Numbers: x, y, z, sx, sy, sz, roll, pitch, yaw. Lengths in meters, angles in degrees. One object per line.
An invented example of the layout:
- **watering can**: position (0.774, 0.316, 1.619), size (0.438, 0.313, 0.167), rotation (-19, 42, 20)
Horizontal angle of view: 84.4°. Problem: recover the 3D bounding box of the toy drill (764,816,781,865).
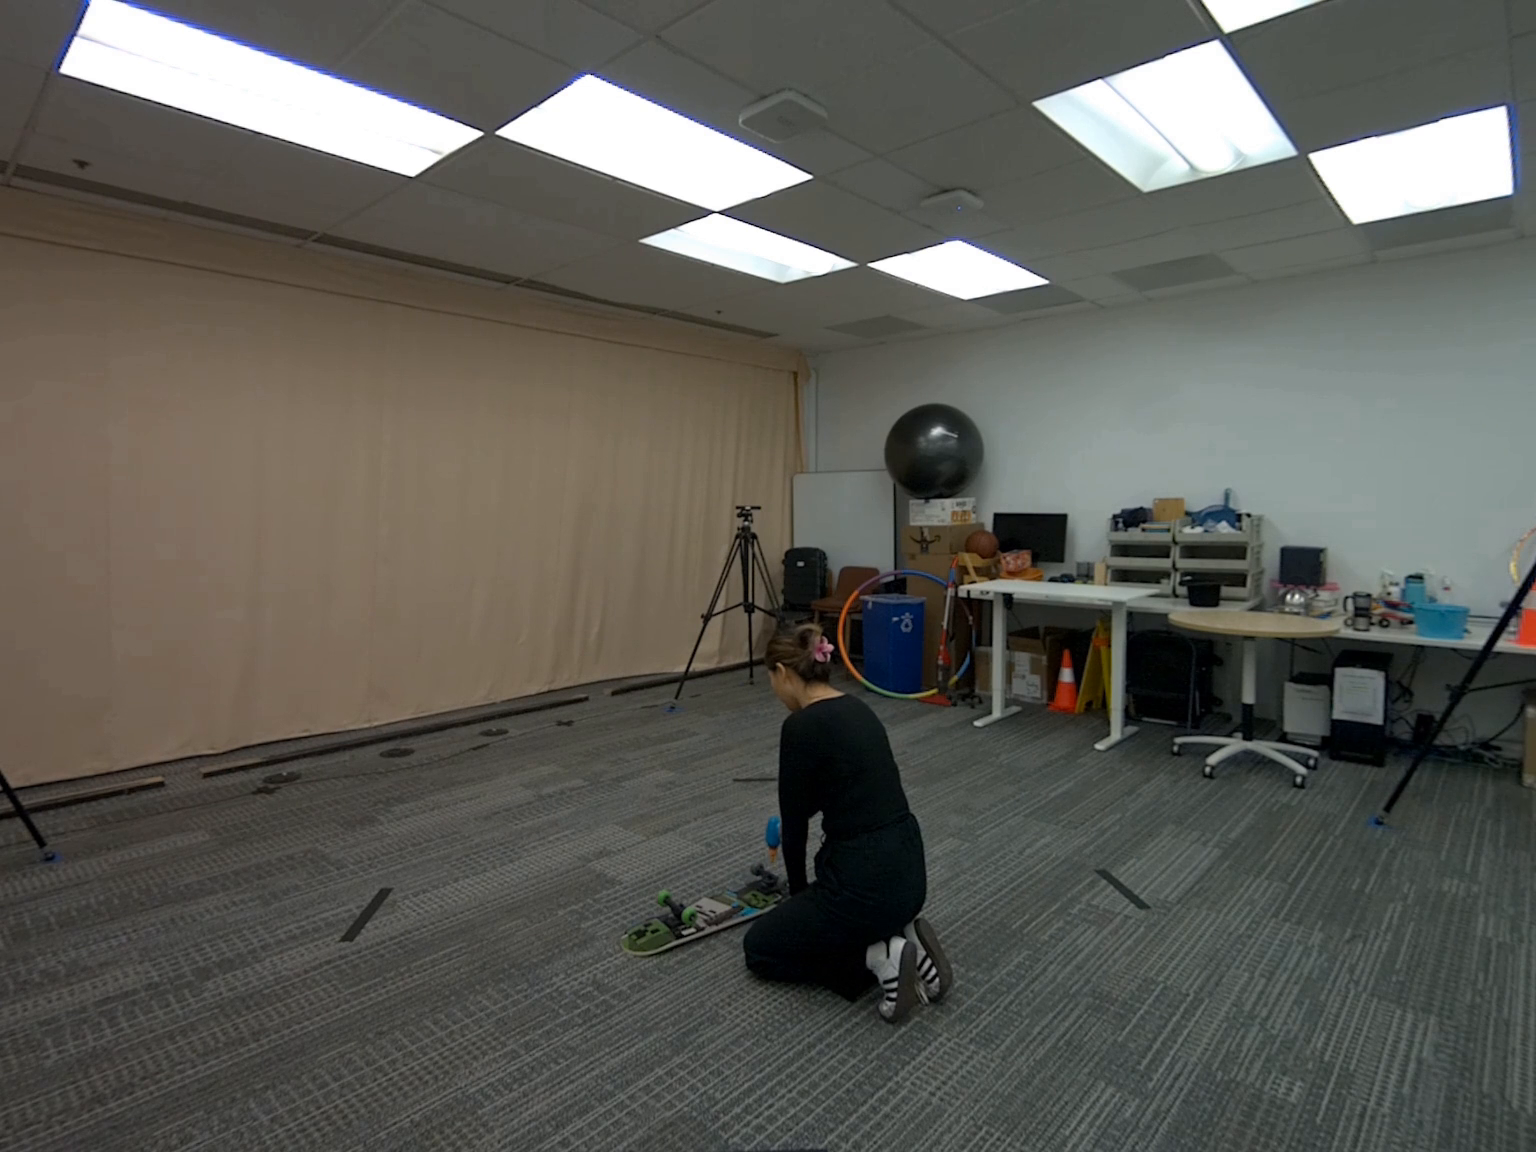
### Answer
- **toy drill**: position (0.061, 0.965, 3.006), size (0.150, 0.170, 0.059), rotation (0, -8, 34)
